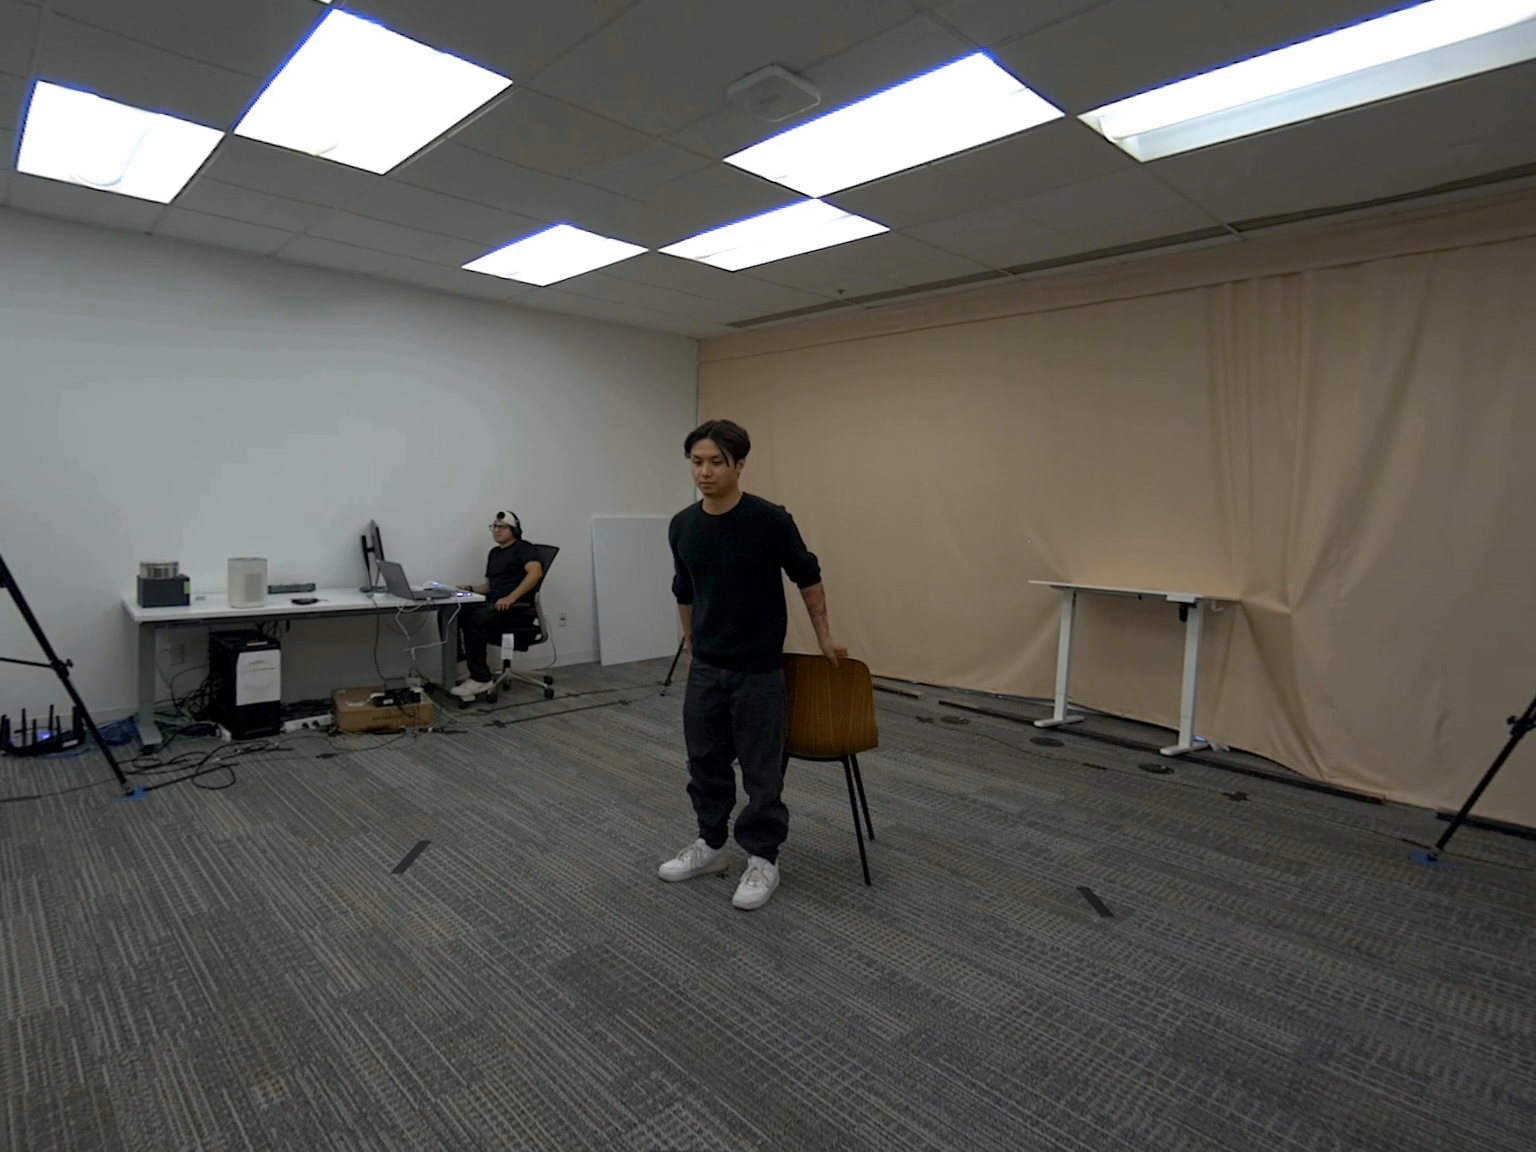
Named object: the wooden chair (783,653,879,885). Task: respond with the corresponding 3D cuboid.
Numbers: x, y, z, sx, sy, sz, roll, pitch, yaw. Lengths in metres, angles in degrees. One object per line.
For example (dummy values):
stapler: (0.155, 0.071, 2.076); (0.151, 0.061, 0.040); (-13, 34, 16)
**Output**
wooden chair: (0.185, 0.670, 3.285); (0.482, 0.873, 0.521); (2, 7, 10)
